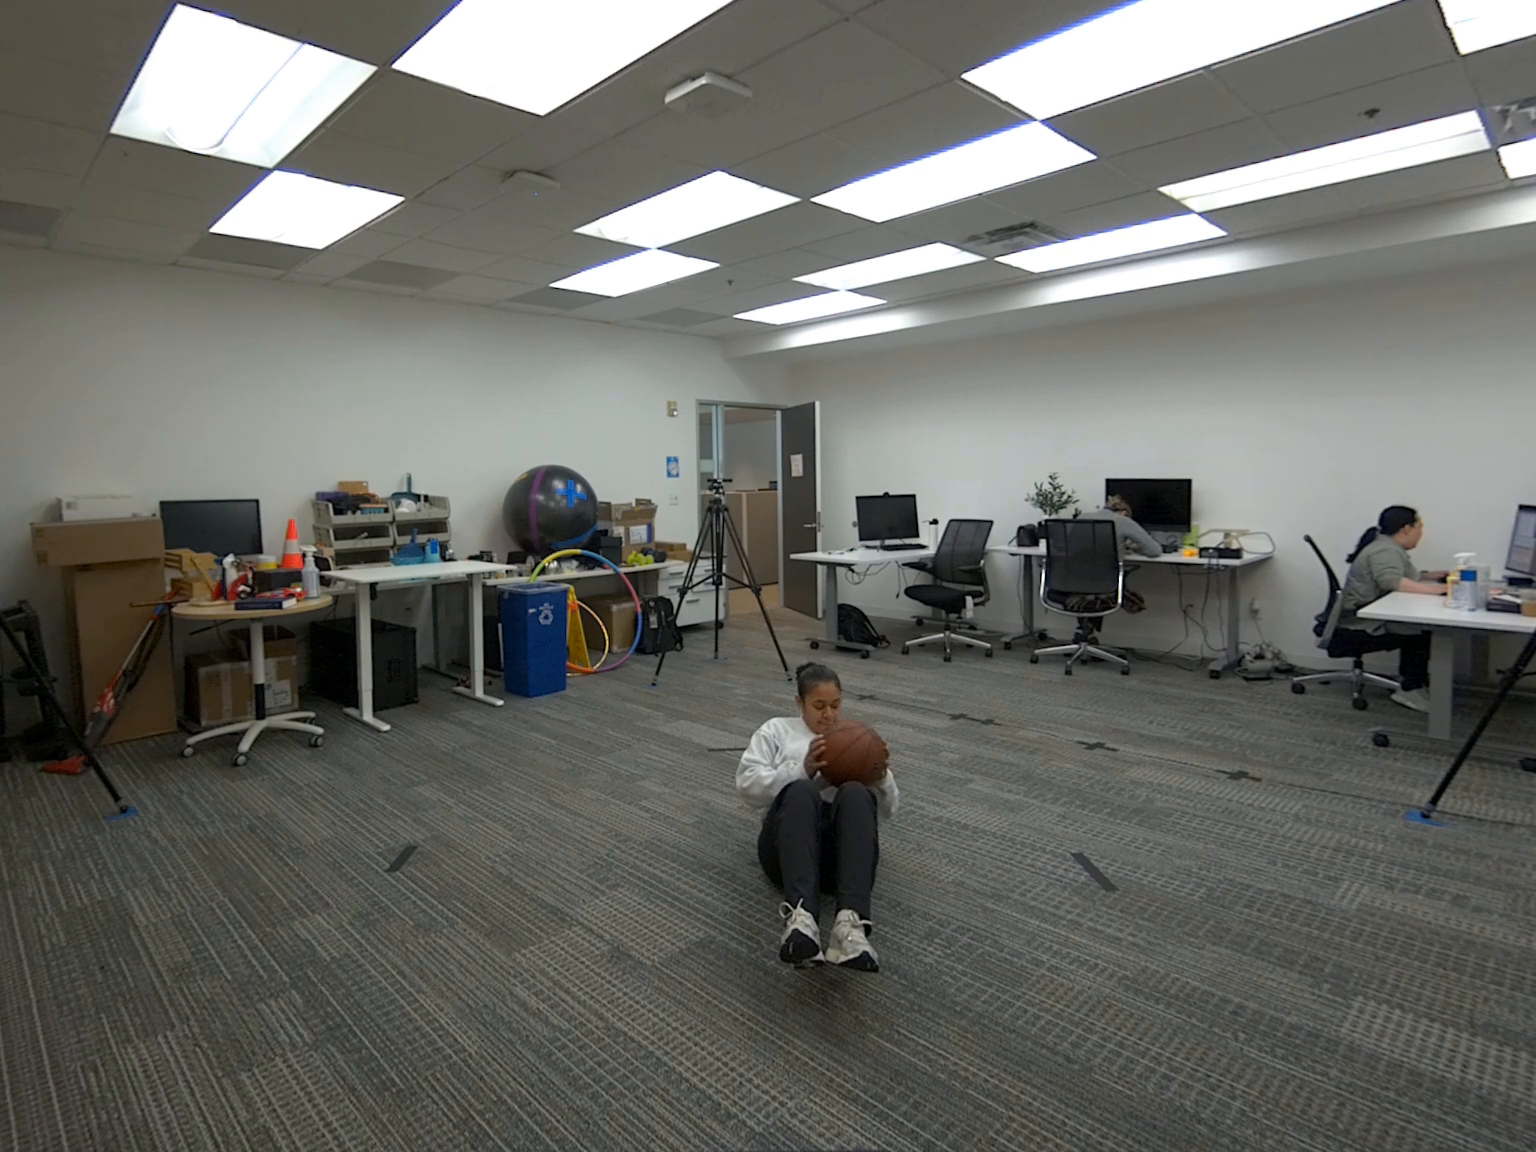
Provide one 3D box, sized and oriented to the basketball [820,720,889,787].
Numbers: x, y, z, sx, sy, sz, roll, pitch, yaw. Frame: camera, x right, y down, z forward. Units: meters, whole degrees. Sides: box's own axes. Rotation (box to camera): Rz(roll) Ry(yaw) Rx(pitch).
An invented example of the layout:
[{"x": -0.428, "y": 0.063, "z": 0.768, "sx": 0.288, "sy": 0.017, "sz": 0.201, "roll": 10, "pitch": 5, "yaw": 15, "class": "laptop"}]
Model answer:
[{"x": 0.273, "y": 0.625, "z": 2.933, "sx": 0.236, "sy": 0.235, "sz": 0.237, "roll": -1, "pitch": 5, "yaw": -2, "class": "basketball"}]
